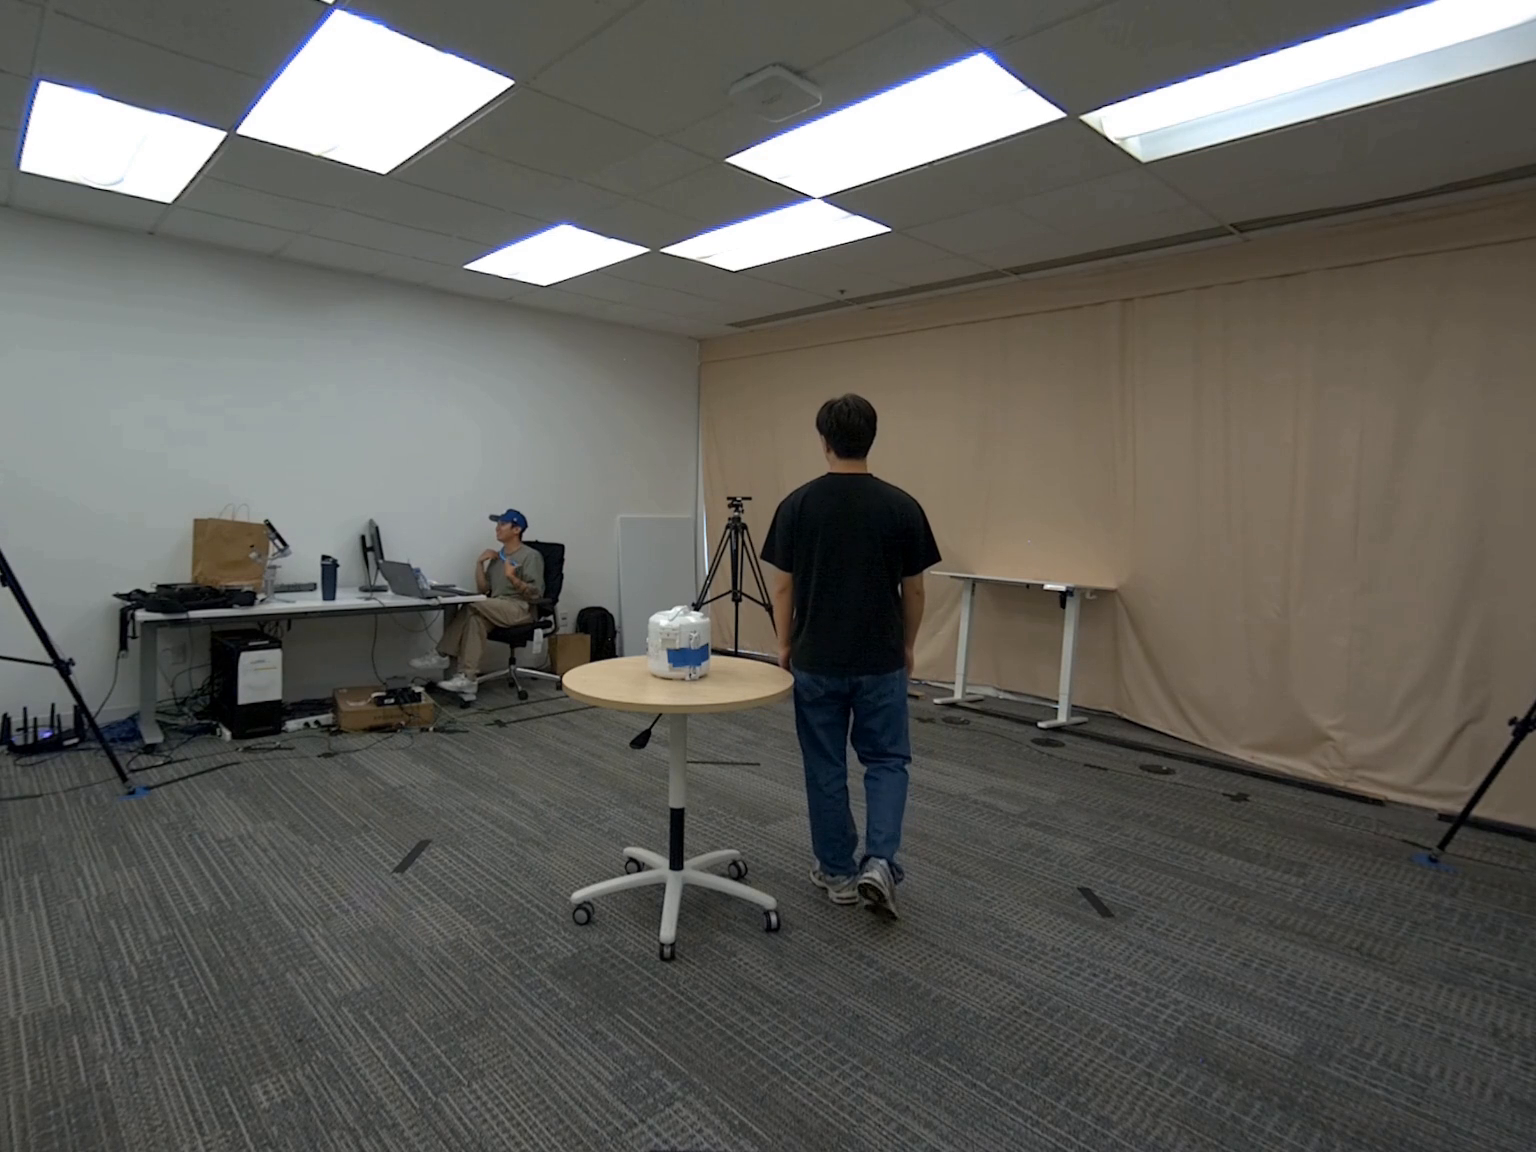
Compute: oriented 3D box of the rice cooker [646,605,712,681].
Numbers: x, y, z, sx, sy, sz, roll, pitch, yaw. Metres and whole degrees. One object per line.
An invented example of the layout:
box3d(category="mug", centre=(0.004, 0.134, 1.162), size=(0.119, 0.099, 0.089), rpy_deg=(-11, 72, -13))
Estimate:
box3d(category="rice cooker", centre=(-0.302, 0.220, 2.813), size=(0.220, 0.232, 0.218), rpy_deg=(3, 5, 15))
